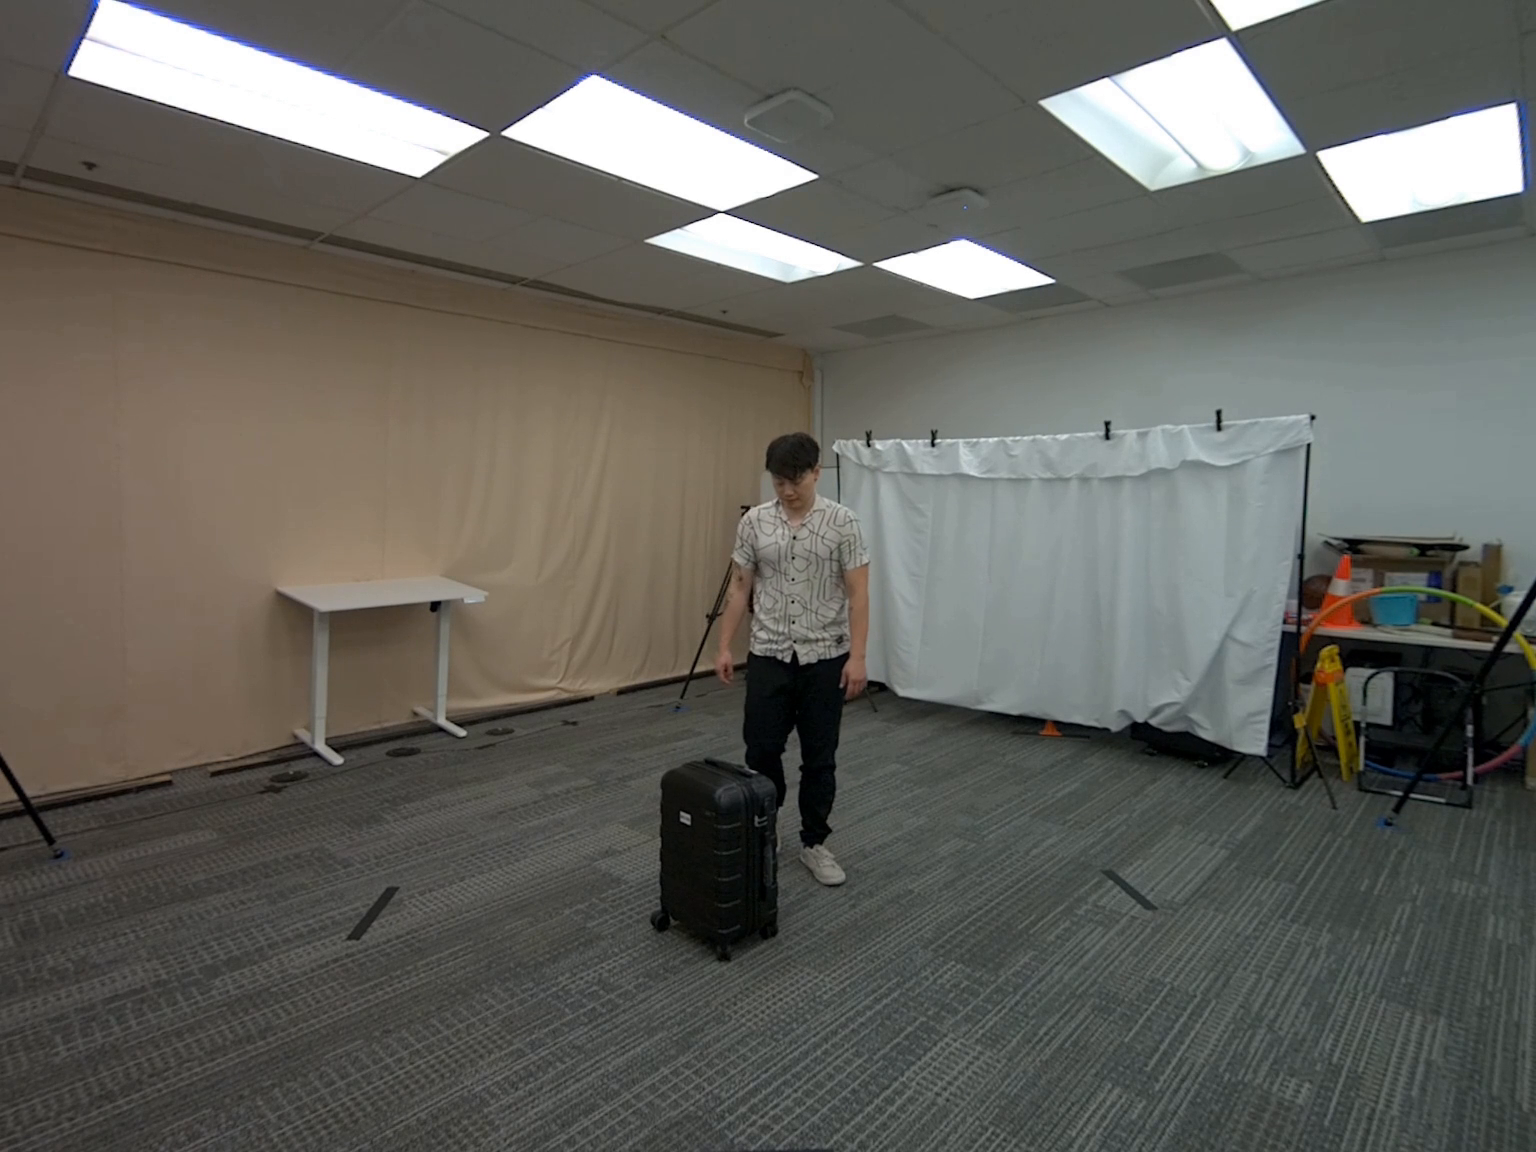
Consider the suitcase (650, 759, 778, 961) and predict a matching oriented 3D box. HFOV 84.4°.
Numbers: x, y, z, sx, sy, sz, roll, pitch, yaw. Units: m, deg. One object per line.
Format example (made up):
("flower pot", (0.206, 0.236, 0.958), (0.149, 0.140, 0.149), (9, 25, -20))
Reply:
("suitcase", (-0.161, 0.889, 2.723), (0.241, 0.548, 0.388), (-3, 5, -42))
